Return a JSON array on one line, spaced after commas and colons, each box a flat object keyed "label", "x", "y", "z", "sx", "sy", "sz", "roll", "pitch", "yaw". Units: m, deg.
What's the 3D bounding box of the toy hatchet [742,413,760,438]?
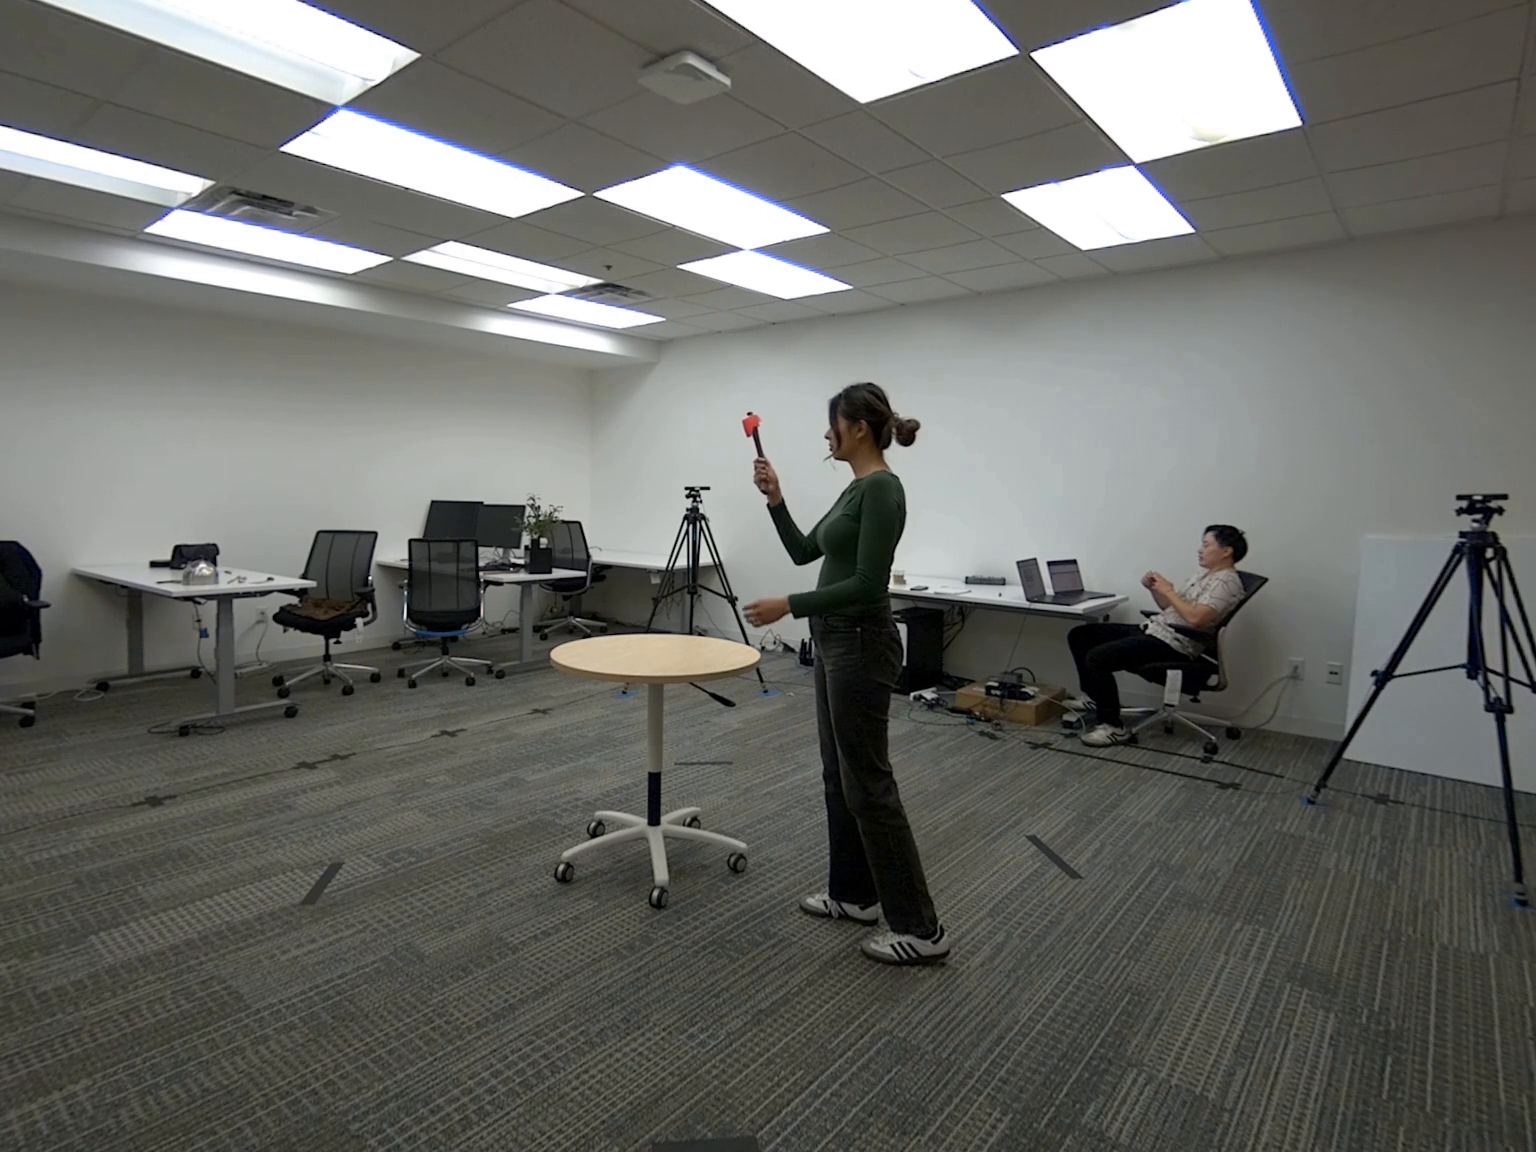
[{"label": "toy hatchet", "x": -0.041, "y": -0.409, "z": 2.753, "sx": 0.030, "sy": 0.274, "sz": 0.127, "roll": -17, "pitch": -15, "yaw": 22}]
